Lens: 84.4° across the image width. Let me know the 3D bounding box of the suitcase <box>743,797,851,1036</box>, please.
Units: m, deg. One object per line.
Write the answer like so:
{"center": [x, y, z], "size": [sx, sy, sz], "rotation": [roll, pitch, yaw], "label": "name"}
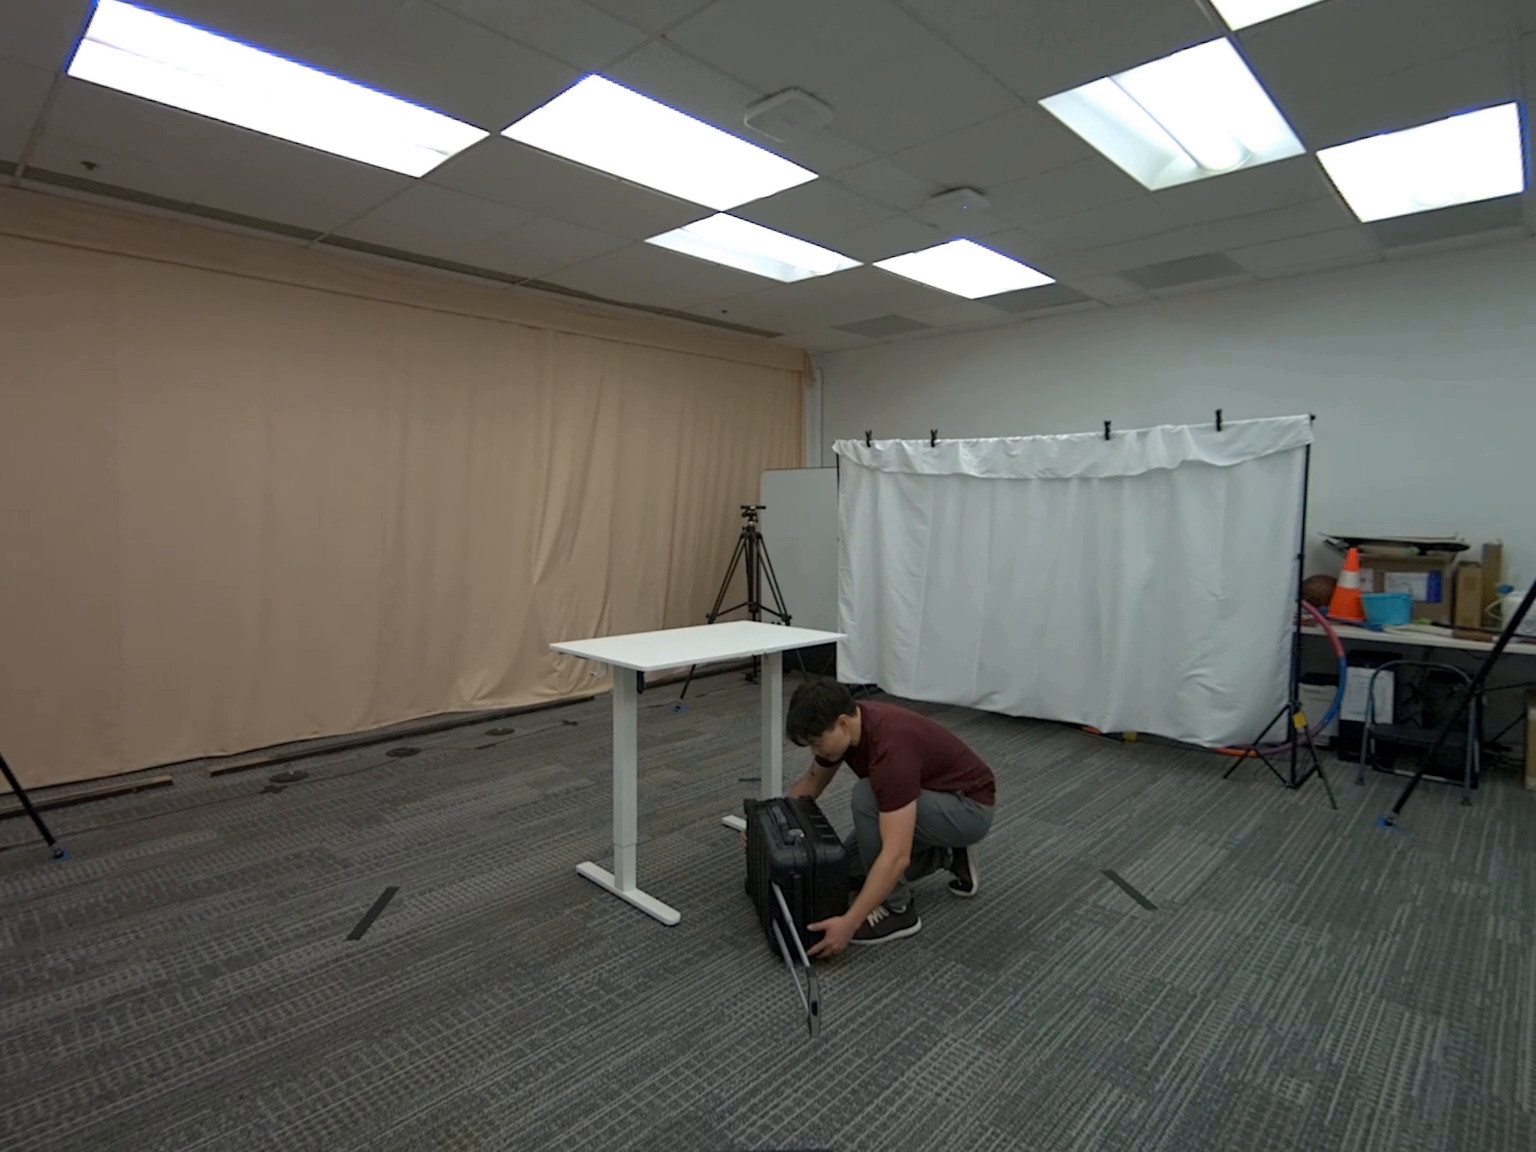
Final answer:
{"center": [0.128, 0.987, 2.572], "size": [0.254, 0.383, 0.992], "rotation": [-3, 6, -11], "label": "suitcase"}
